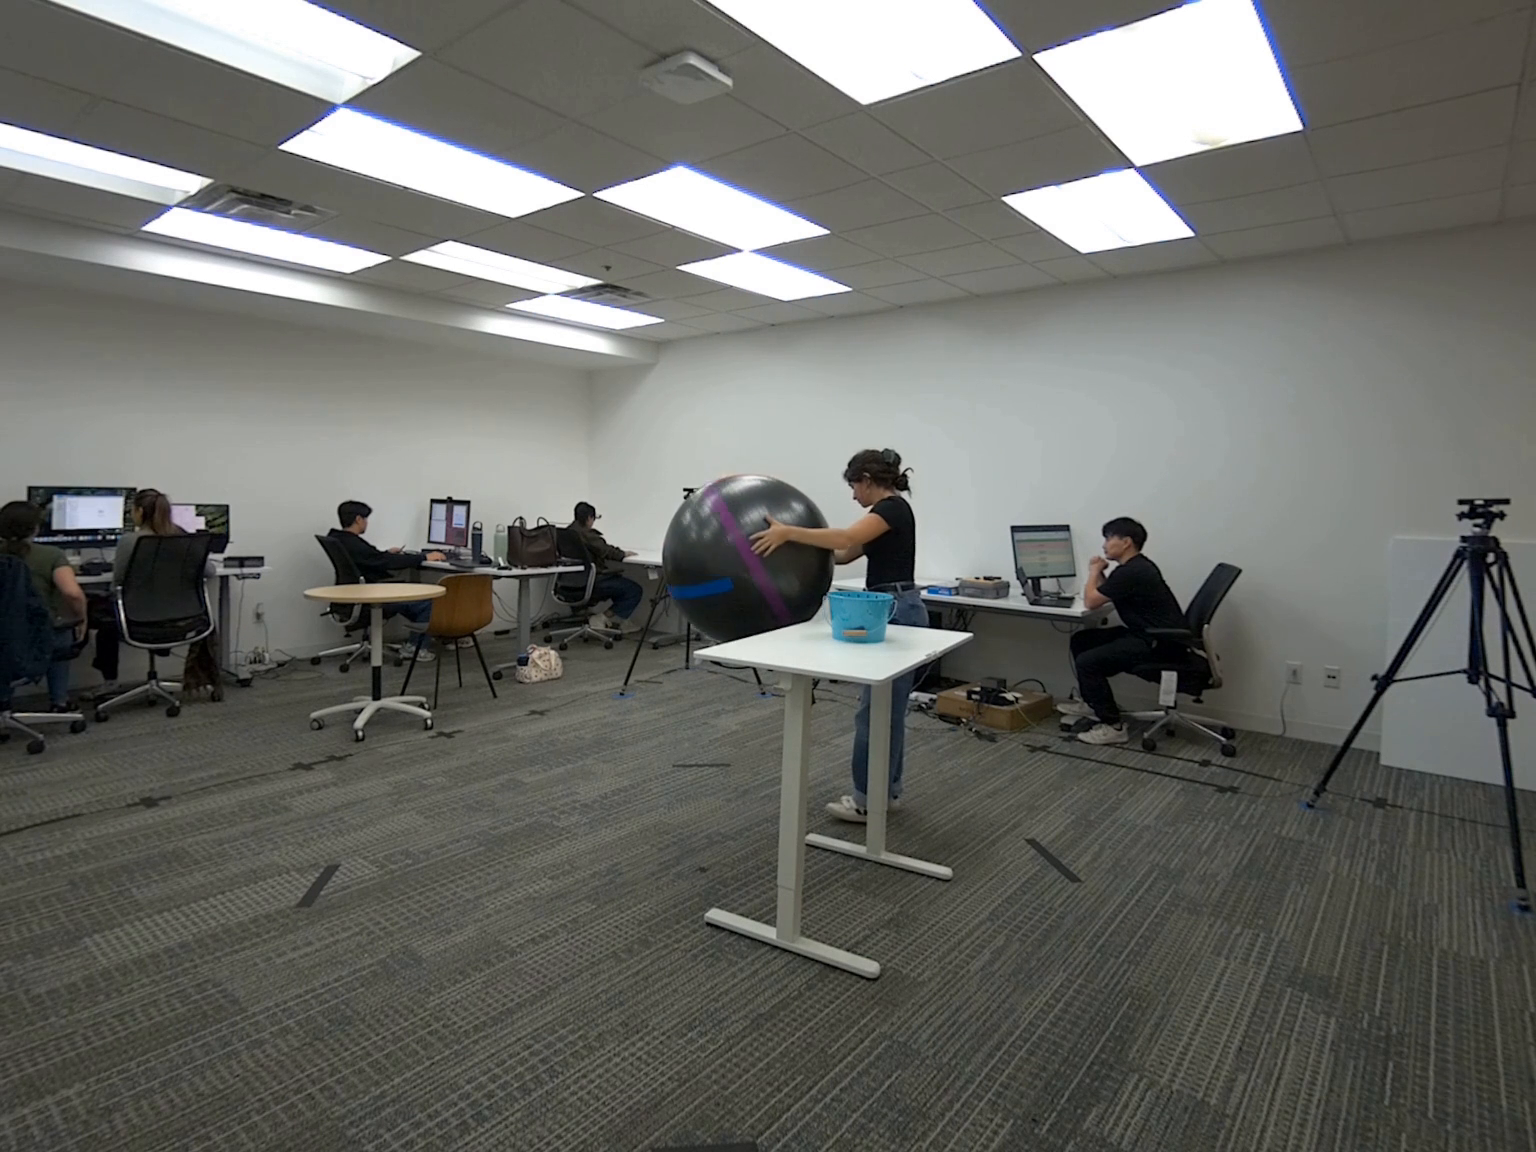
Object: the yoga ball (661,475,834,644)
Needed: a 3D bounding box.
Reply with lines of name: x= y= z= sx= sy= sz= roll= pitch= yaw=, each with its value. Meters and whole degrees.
yoga ball: x=-0.087 y=-0.077 z=3.778 sx=0.757 sy=0.756 sz=0.762 roll=1 pitch=4 yaw=-2
